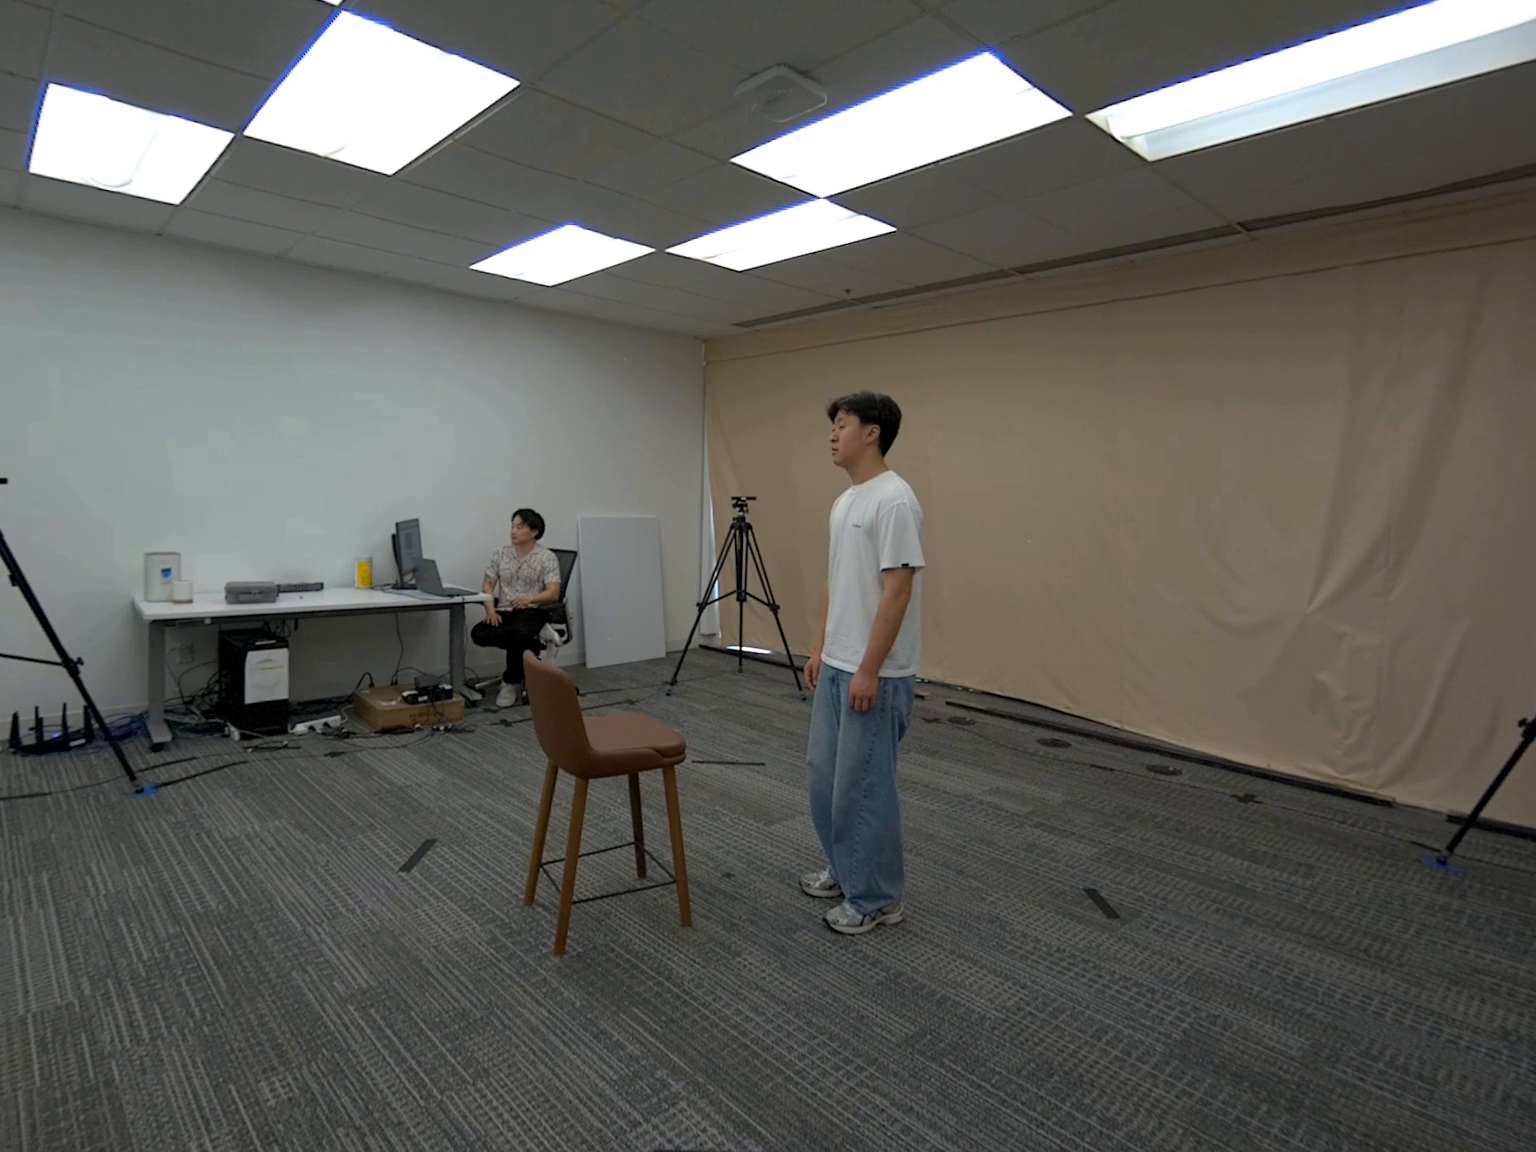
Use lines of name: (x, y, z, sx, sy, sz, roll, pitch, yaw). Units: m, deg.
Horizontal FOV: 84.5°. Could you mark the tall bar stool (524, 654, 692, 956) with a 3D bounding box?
tall bar stool: (-0.542, 0.689, 2.777, 0.458, 0.887, 0.467, -3, 5, -30)
